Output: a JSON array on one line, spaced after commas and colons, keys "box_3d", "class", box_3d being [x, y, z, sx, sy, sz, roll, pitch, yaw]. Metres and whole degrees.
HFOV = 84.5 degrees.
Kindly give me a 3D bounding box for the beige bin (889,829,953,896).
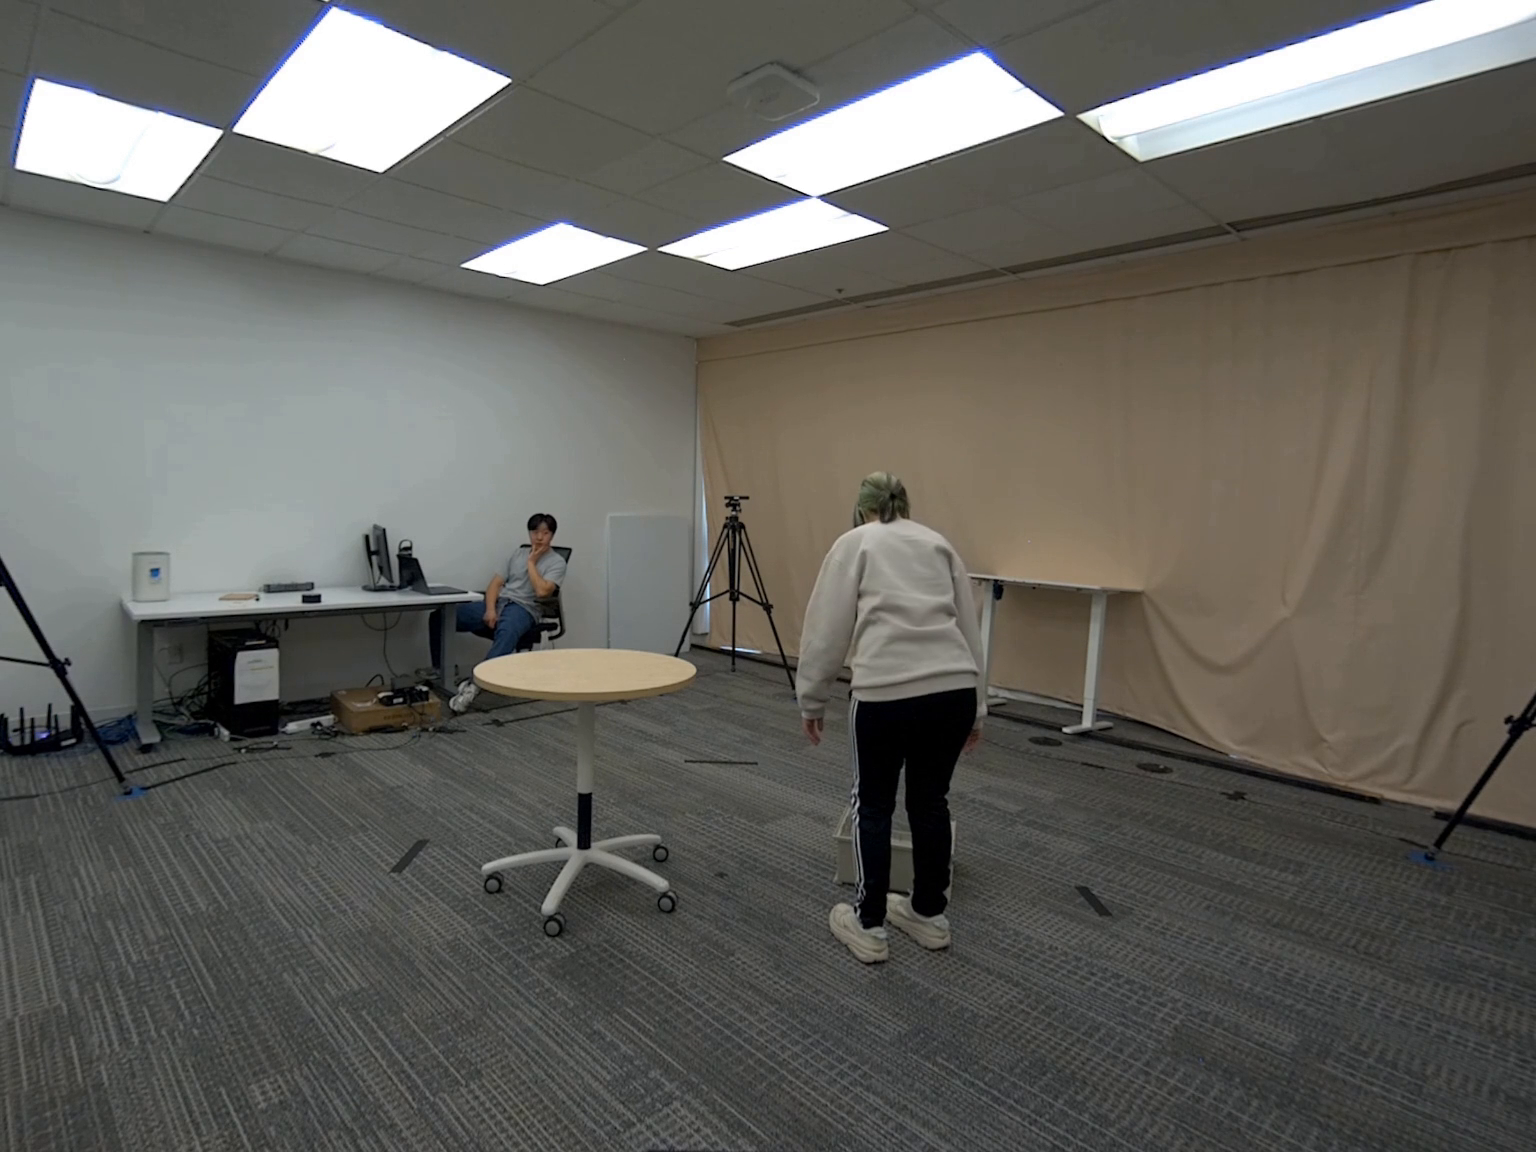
[{"box_3d": [0.481, 1.030, 3.156, 0.428, 0.188, 0.374, 4, 6, 15], "class": "beige bin"}]
